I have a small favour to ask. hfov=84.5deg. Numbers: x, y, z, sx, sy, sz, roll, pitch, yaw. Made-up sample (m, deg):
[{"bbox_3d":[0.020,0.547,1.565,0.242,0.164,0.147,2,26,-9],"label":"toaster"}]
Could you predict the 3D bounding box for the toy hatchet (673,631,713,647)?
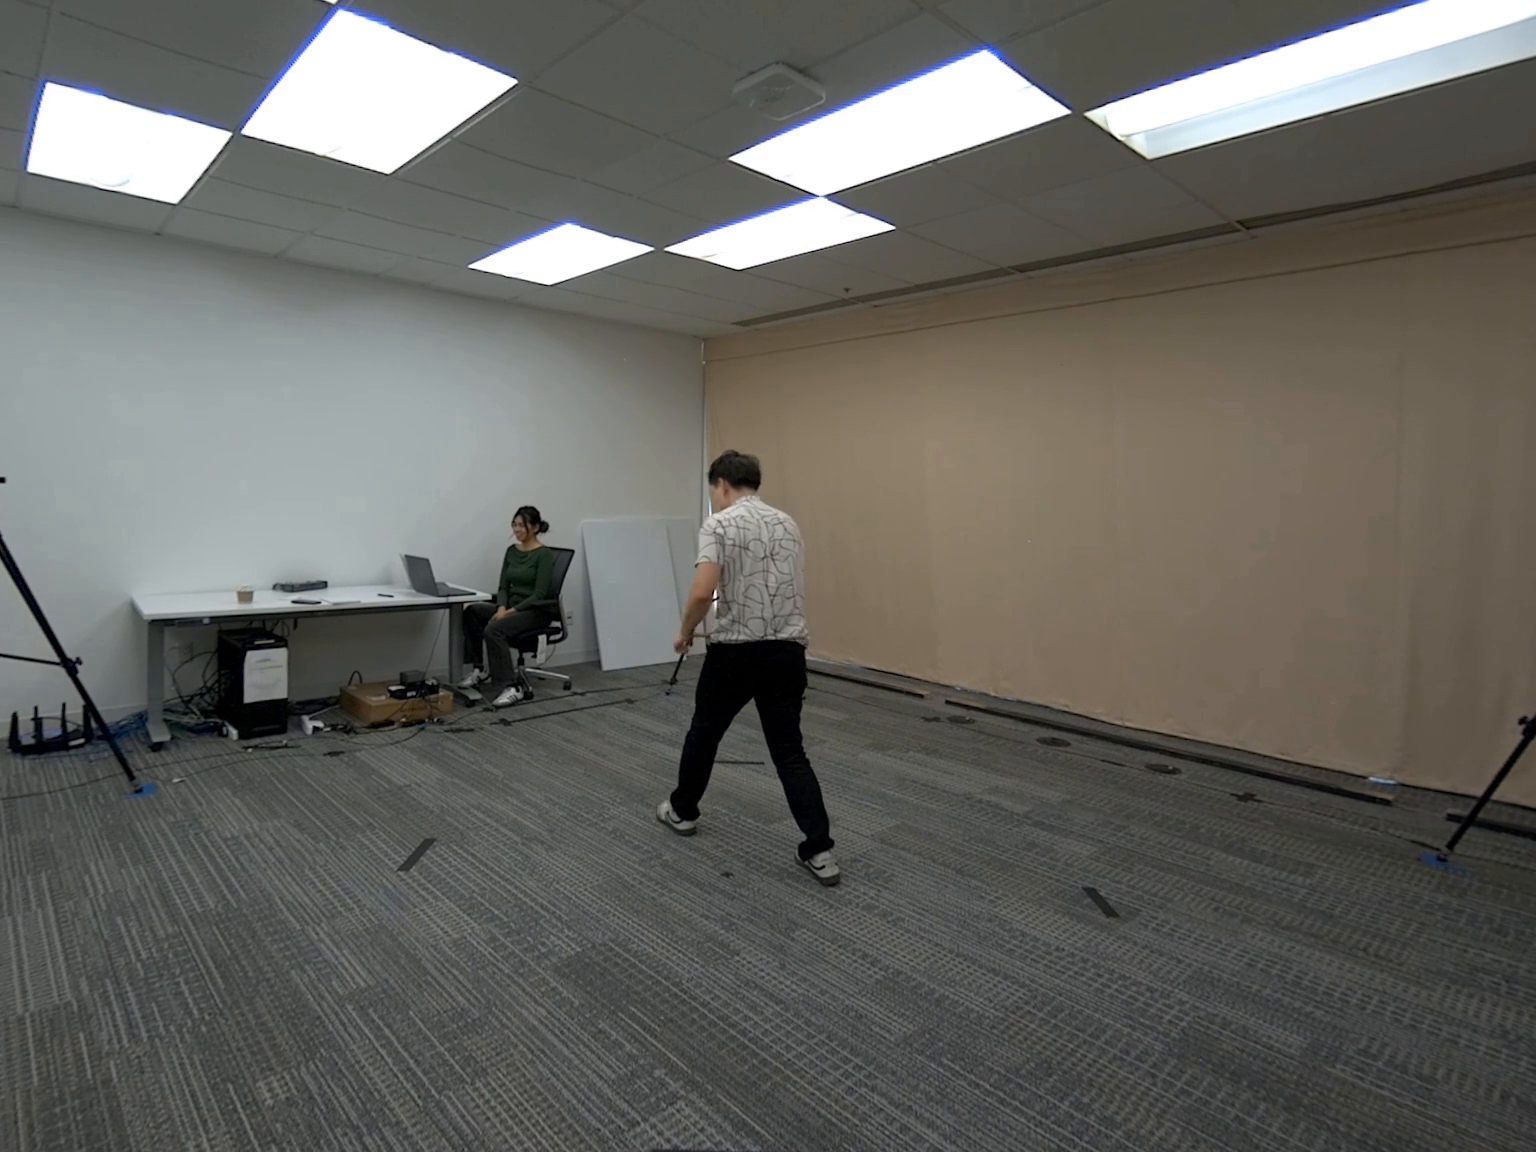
[{"bbox_3d":[-0.272,0.272,3.668,0.276,0.029,0.129,-1,10,43],"label":"toy hatchet"}]
